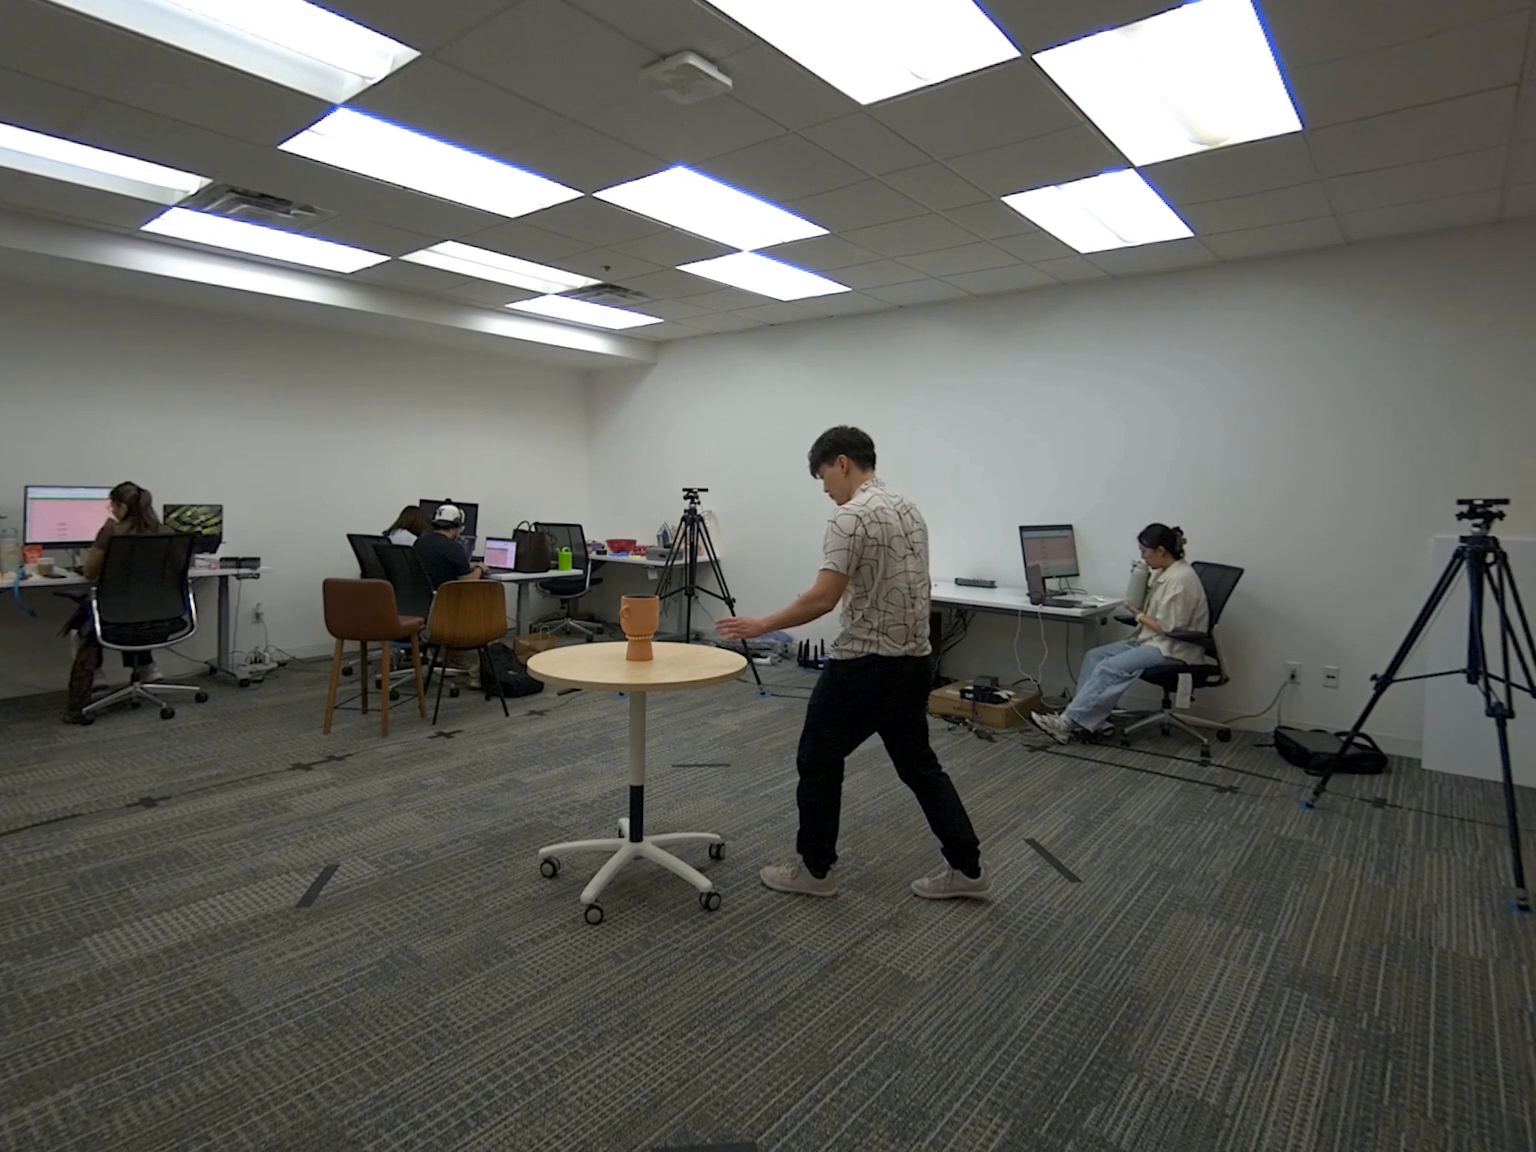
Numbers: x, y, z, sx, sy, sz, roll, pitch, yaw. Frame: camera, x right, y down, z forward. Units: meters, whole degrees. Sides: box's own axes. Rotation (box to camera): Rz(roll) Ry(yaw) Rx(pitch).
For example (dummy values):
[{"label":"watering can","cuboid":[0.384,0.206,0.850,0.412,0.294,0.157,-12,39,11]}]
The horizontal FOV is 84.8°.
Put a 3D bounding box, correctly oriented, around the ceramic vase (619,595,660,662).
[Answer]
[{"label":"ceramic vase","cuboid":[-0.464,0.183,3.015,0.156,0.219,0.137,-1,4,-16]}]
